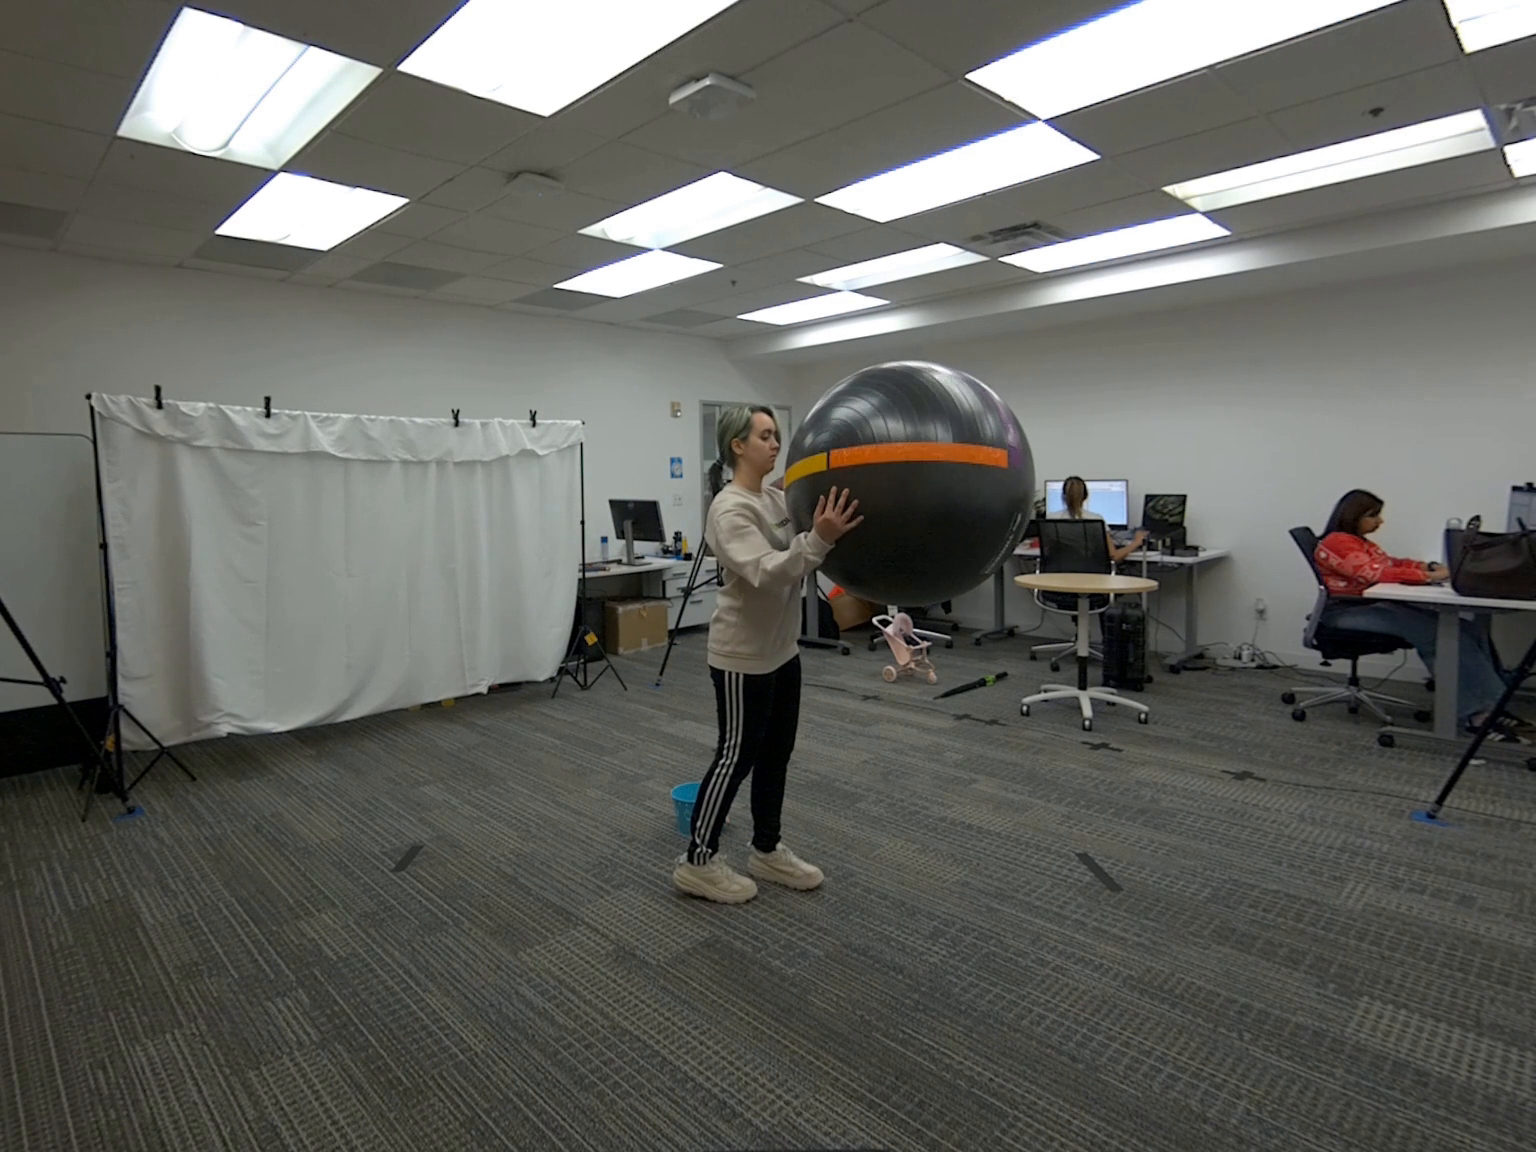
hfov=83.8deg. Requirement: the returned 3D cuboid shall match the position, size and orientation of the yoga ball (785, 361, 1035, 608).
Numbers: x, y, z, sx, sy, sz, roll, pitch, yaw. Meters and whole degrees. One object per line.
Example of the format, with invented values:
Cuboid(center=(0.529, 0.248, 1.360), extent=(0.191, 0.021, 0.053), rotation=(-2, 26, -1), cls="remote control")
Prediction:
Cuboid(center=(0.434, -0.277, 2.653), extent=(0.757, 0.755, 0.762), rotation=(-1, 5, -2), cls="yoga ball")
